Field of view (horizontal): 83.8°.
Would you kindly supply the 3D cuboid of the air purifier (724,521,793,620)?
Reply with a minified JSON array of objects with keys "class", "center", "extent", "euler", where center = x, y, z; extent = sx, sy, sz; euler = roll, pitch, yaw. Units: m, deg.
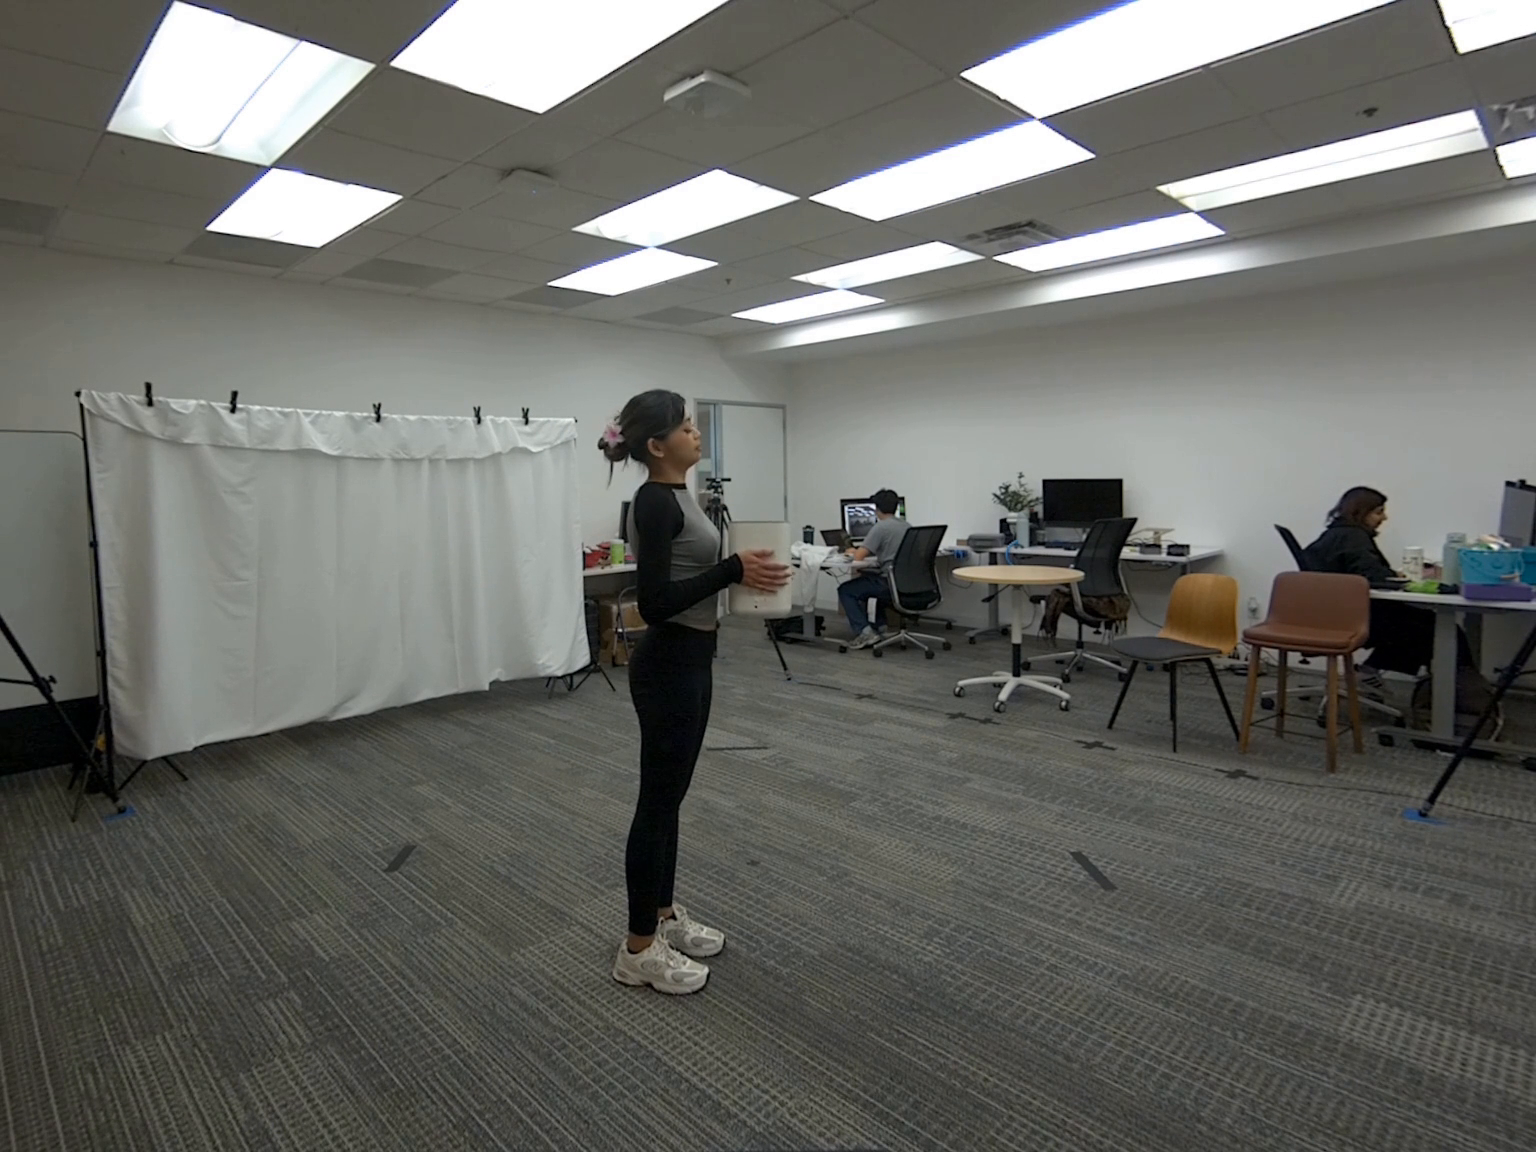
[{"class":"air purifier","center":[-0.026,-0.012,2.359],"extent":[0.171,0.265,0.171],"euler":[0,0,2]}]
